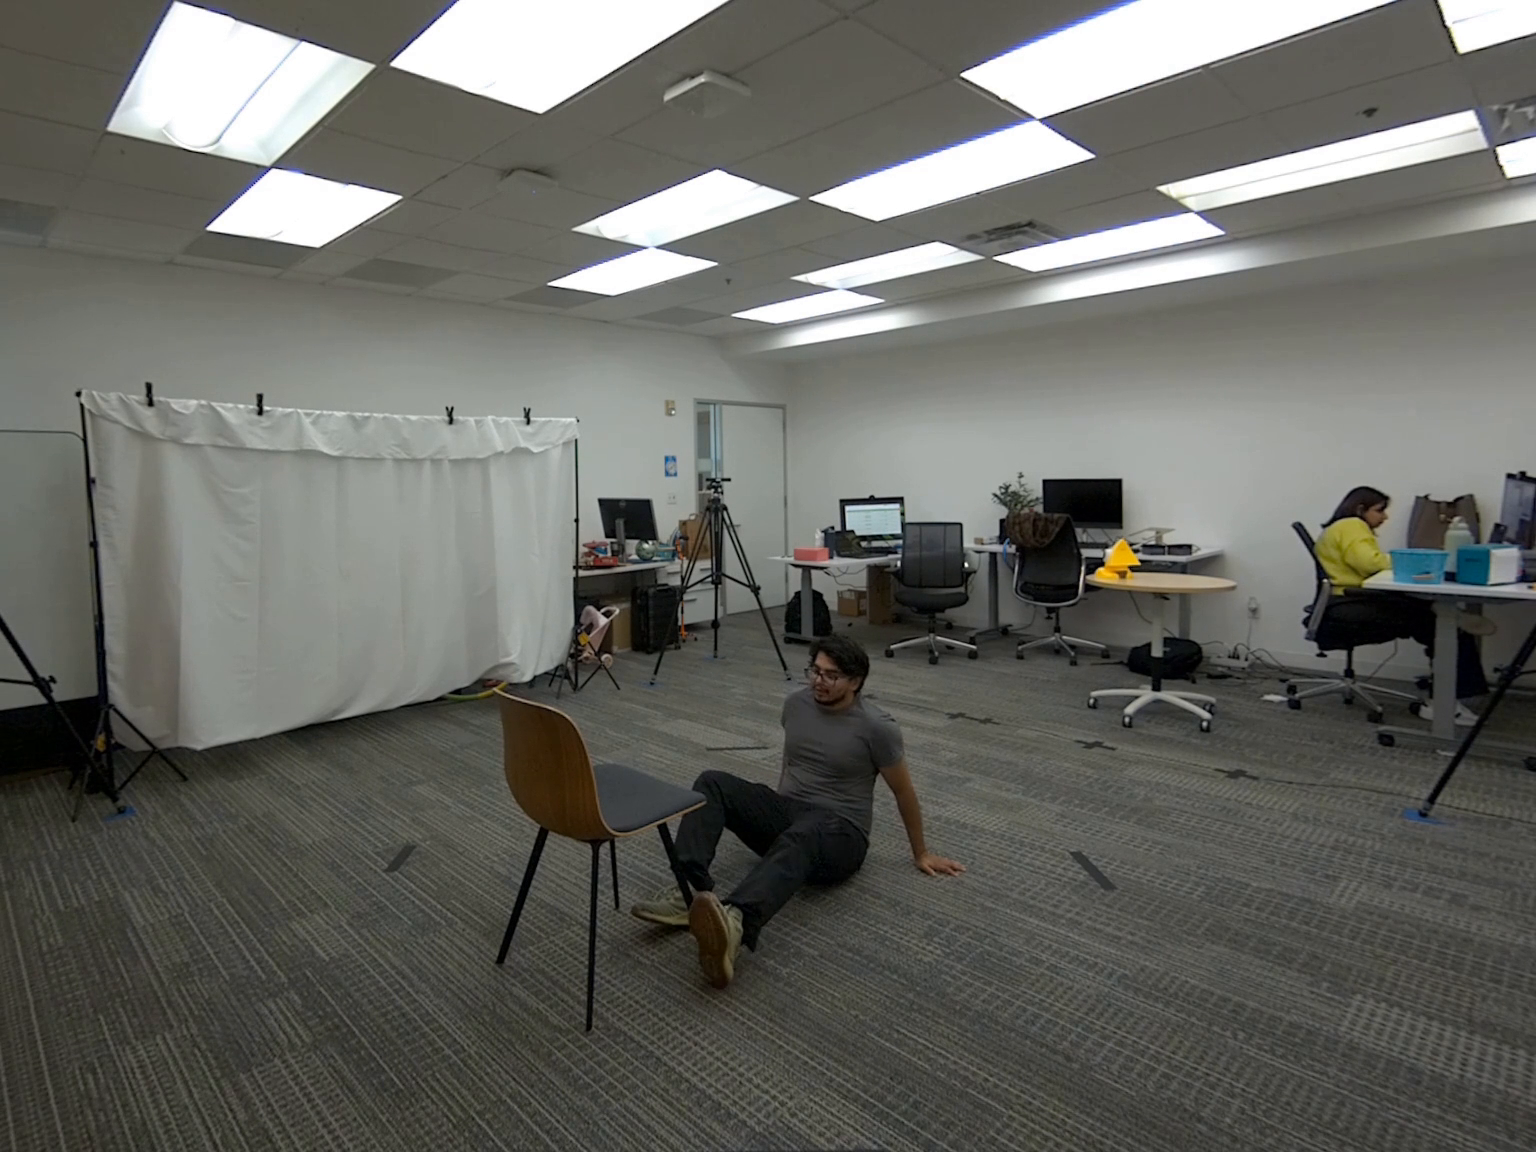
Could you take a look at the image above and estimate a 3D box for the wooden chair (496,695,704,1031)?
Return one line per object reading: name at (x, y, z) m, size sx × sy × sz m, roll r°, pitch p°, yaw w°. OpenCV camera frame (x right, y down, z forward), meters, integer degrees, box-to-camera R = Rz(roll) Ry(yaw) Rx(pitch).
wooden chair at (-0.478, 0.701, 2.460) m, size 0.493 × 0.871 × 0.511 m, roll 3°, pitch 10°, yaw 43°
